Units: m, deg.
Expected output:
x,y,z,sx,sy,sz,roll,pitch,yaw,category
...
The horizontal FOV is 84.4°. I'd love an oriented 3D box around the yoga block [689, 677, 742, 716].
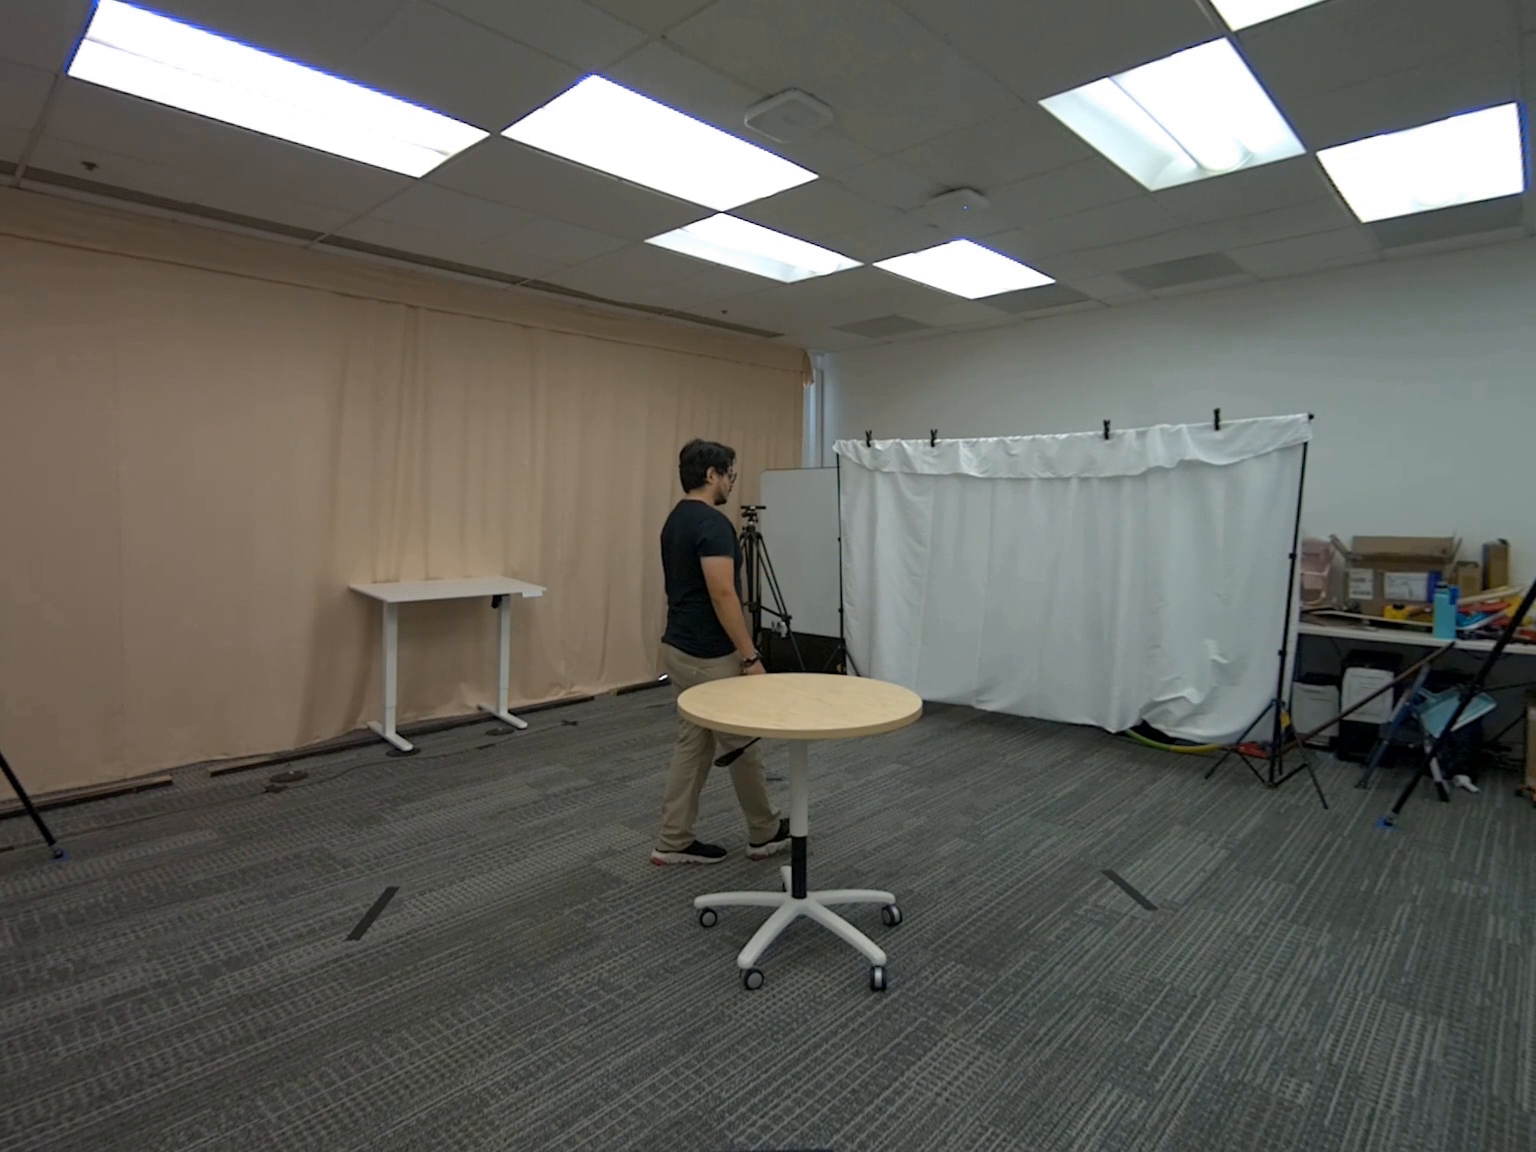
x,y,z,sx,sy,sz,roll,pitch,yaw,category
-0.248,0.456,3.614,0.078,0.225,0.148,-25,22,49,yoga block
